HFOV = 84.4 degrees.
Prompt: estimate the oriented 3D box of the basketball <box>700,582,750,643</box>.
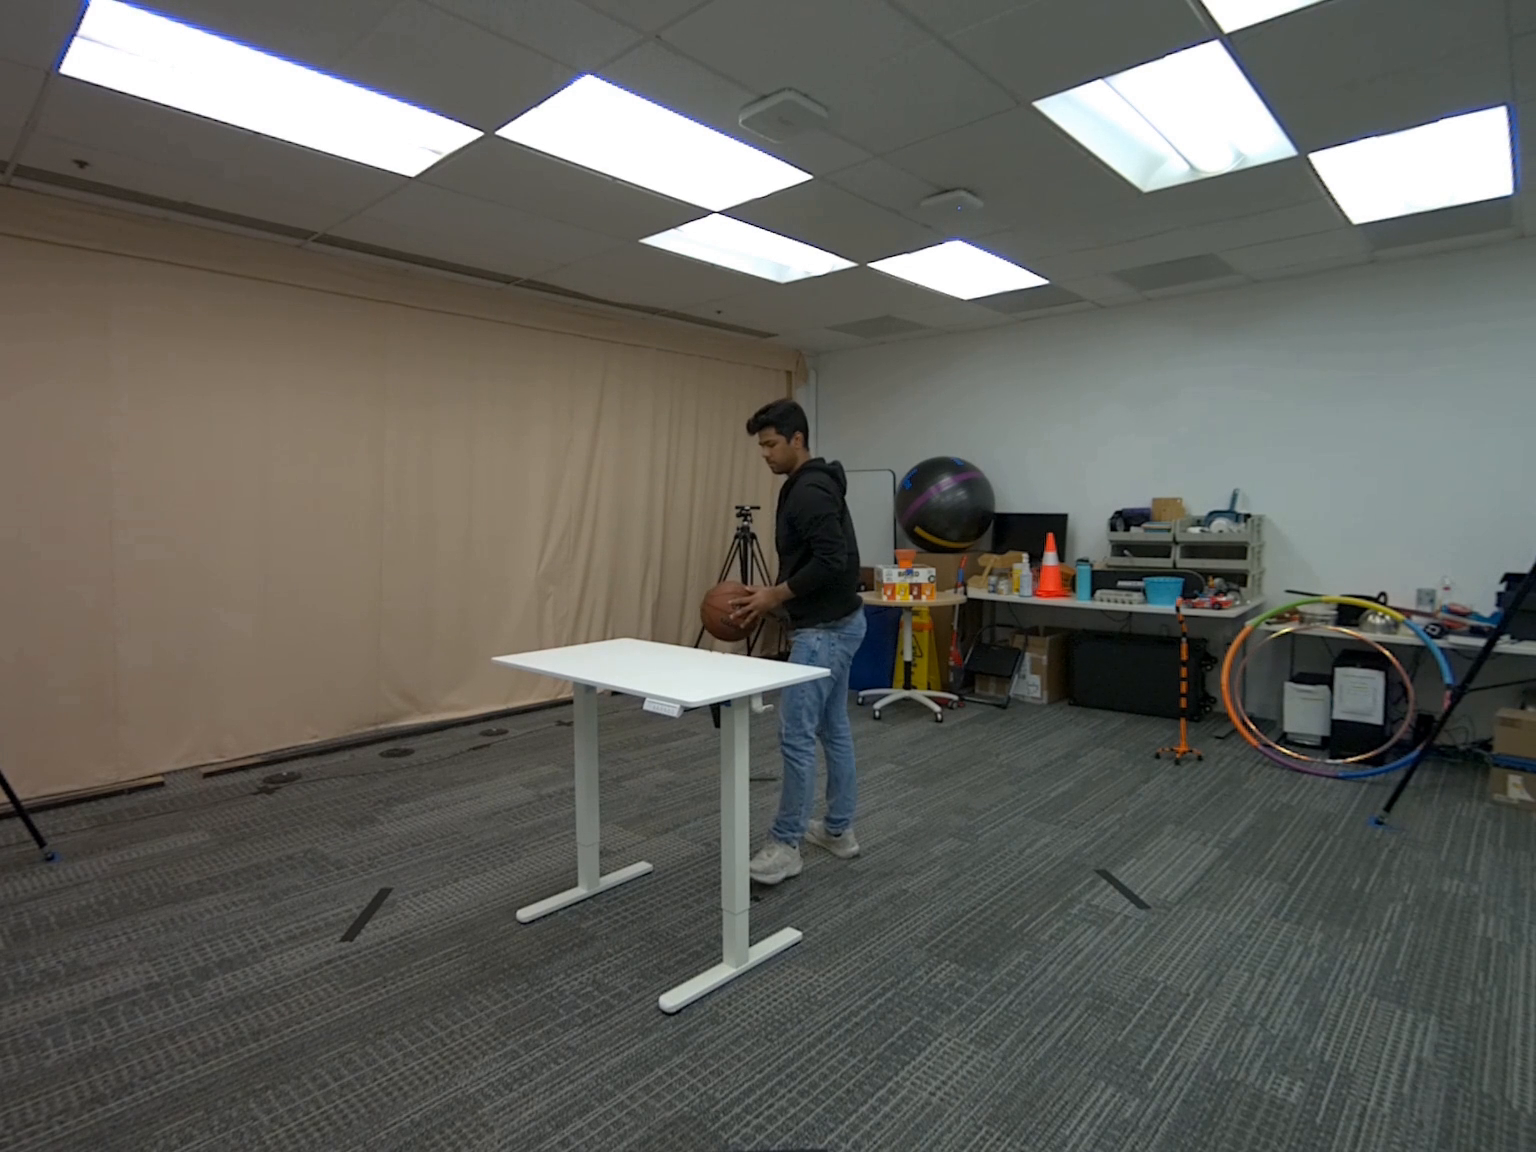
[{"bbox_3d":[-0.136,0.143,3.301,0.236,0.235,0.237,0,4,-2],"label":"basketball"}]
